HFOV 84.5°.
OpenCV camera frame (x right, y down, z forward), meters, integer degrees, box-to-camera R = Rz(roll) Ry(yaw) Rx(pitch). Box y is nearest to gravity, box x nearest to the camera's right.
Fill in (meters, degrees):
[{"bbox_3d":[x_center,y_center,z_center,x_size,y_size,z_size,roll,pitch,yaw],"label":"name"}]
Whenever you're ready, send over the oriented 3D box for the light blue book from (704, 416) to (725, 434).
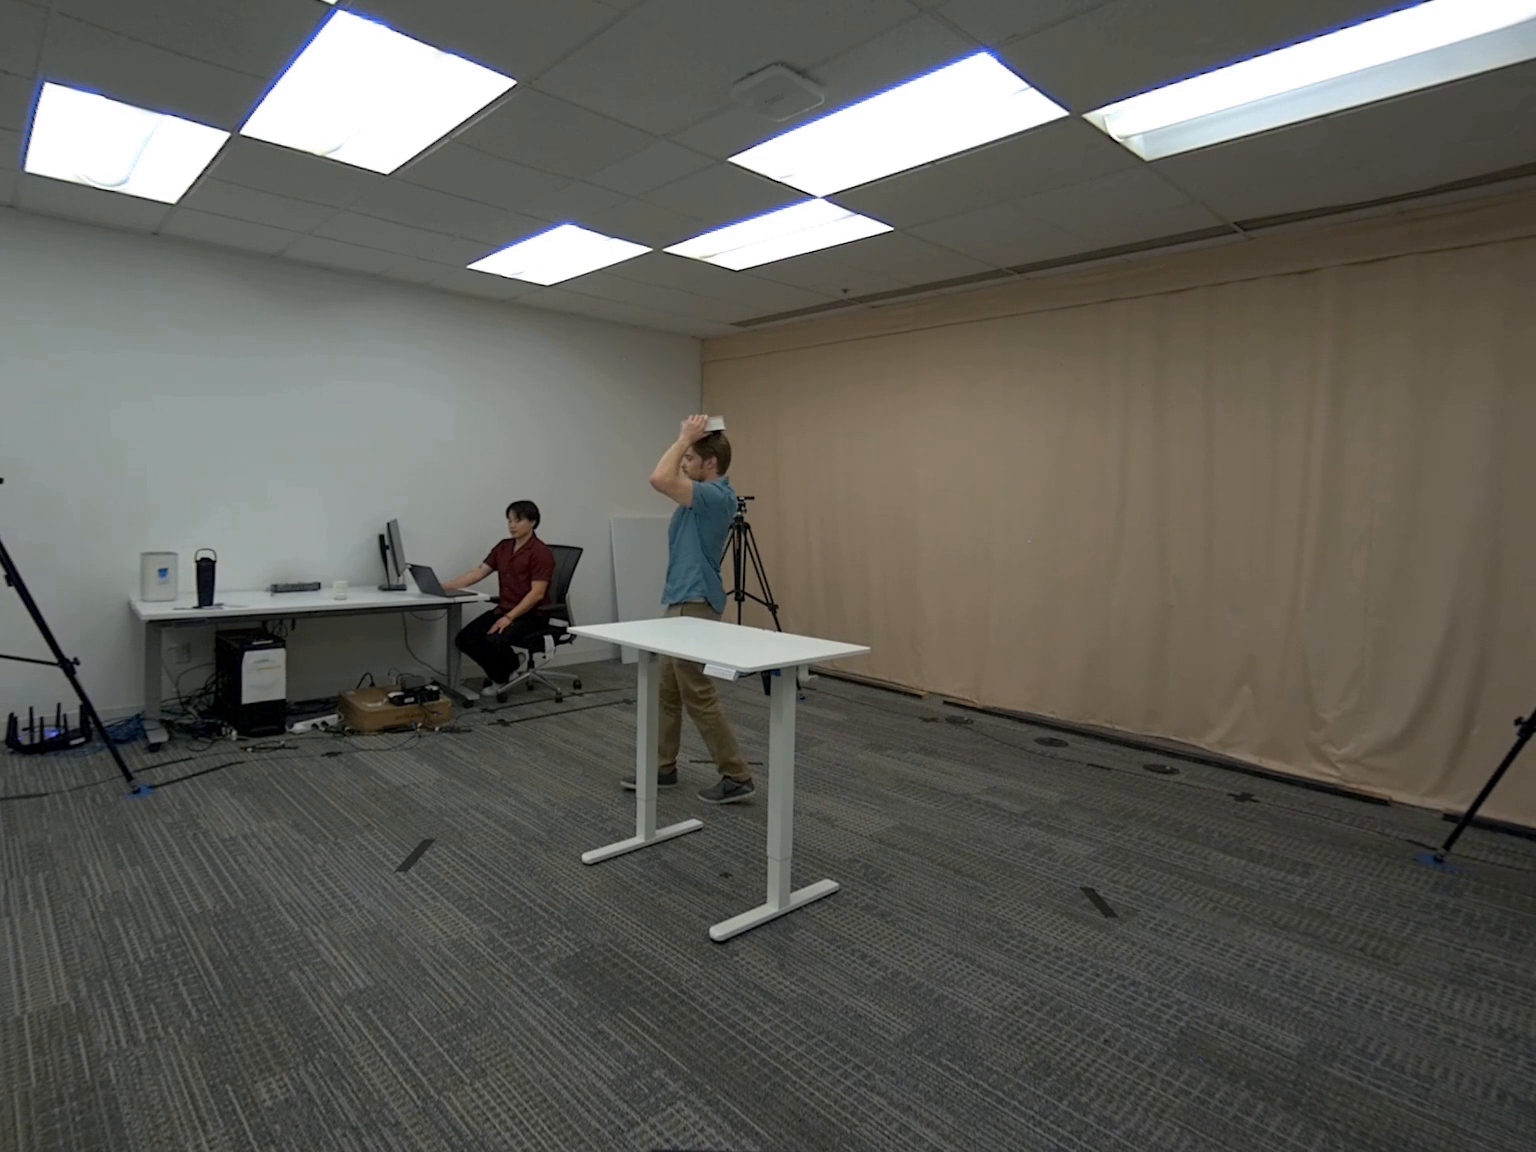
[{"bbox_3d":[-0.314,-0.678,3.847,0.191,0.059,0.262,-9,5,-2],"label":"light blue book"}]
